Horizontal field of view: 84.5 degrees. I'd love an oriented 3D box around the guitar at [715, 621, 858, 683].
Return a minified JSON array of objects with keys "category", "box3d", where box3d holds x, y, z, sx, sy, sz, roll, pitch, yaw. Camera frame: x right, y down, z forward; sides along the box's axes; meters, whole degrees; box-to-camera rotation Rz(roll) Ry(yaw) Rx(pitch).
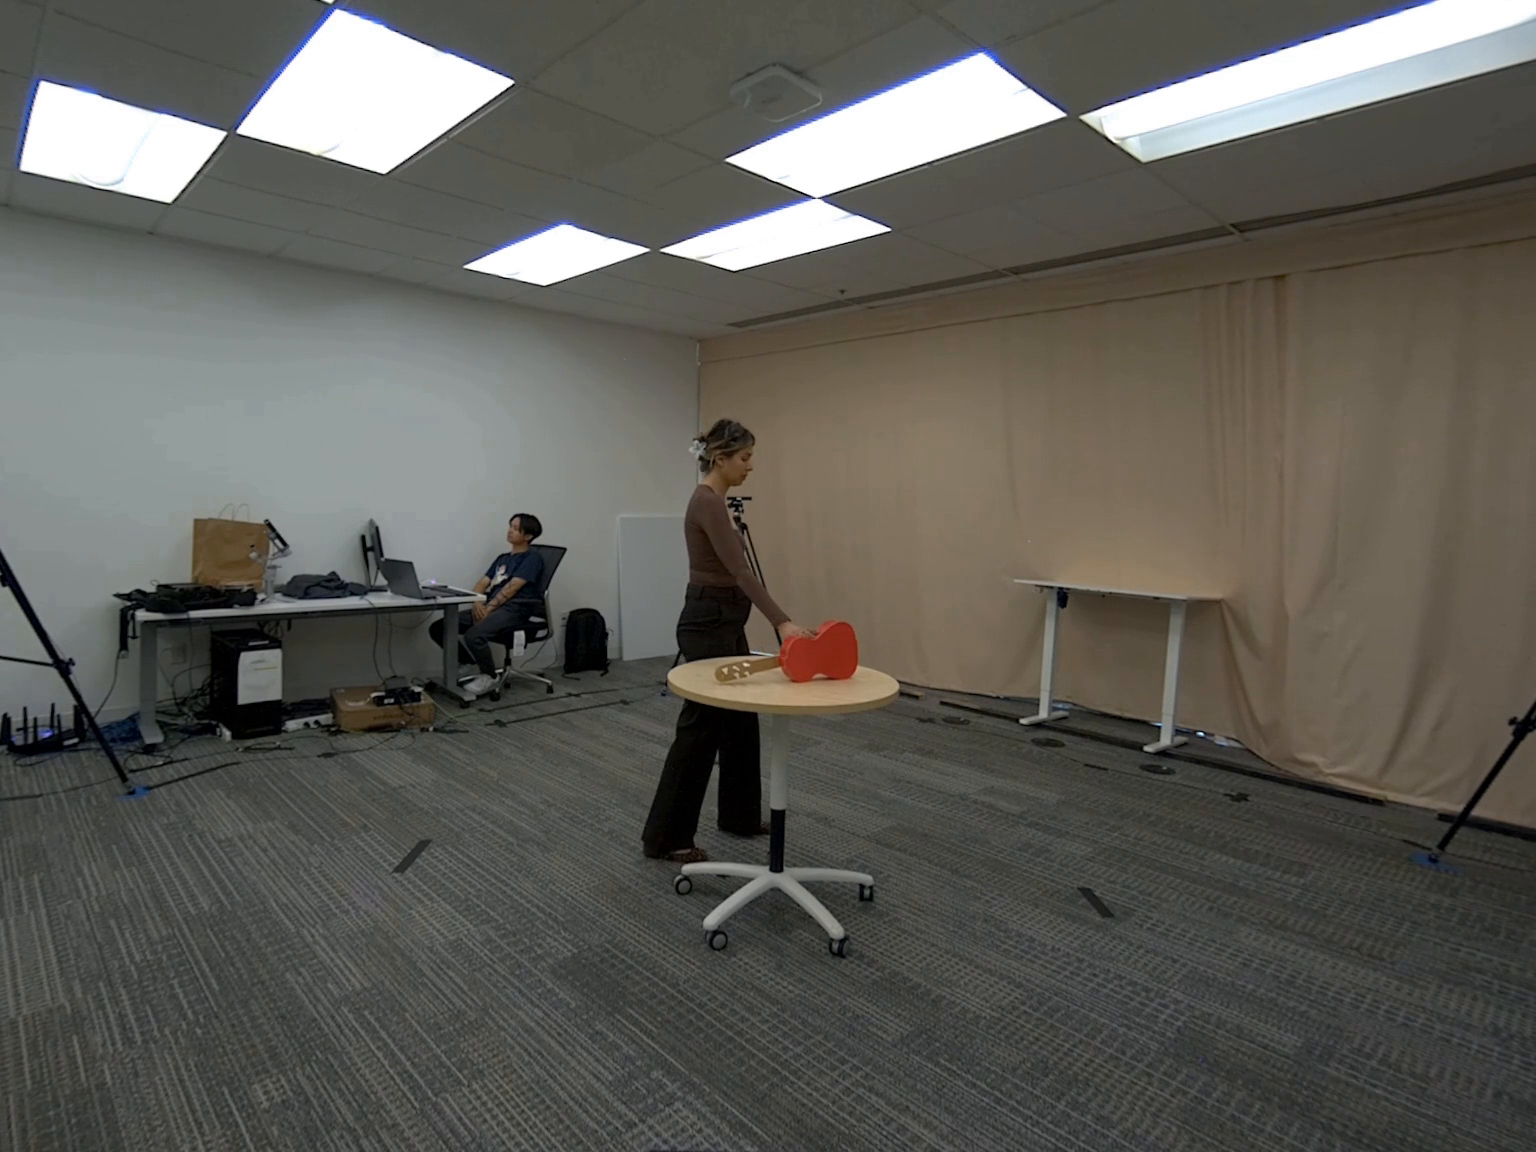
[{"category":"guitar","box3d":[0.066,0.303,2.757,0.492,0.191,0.072,-19,10,-21]}]
